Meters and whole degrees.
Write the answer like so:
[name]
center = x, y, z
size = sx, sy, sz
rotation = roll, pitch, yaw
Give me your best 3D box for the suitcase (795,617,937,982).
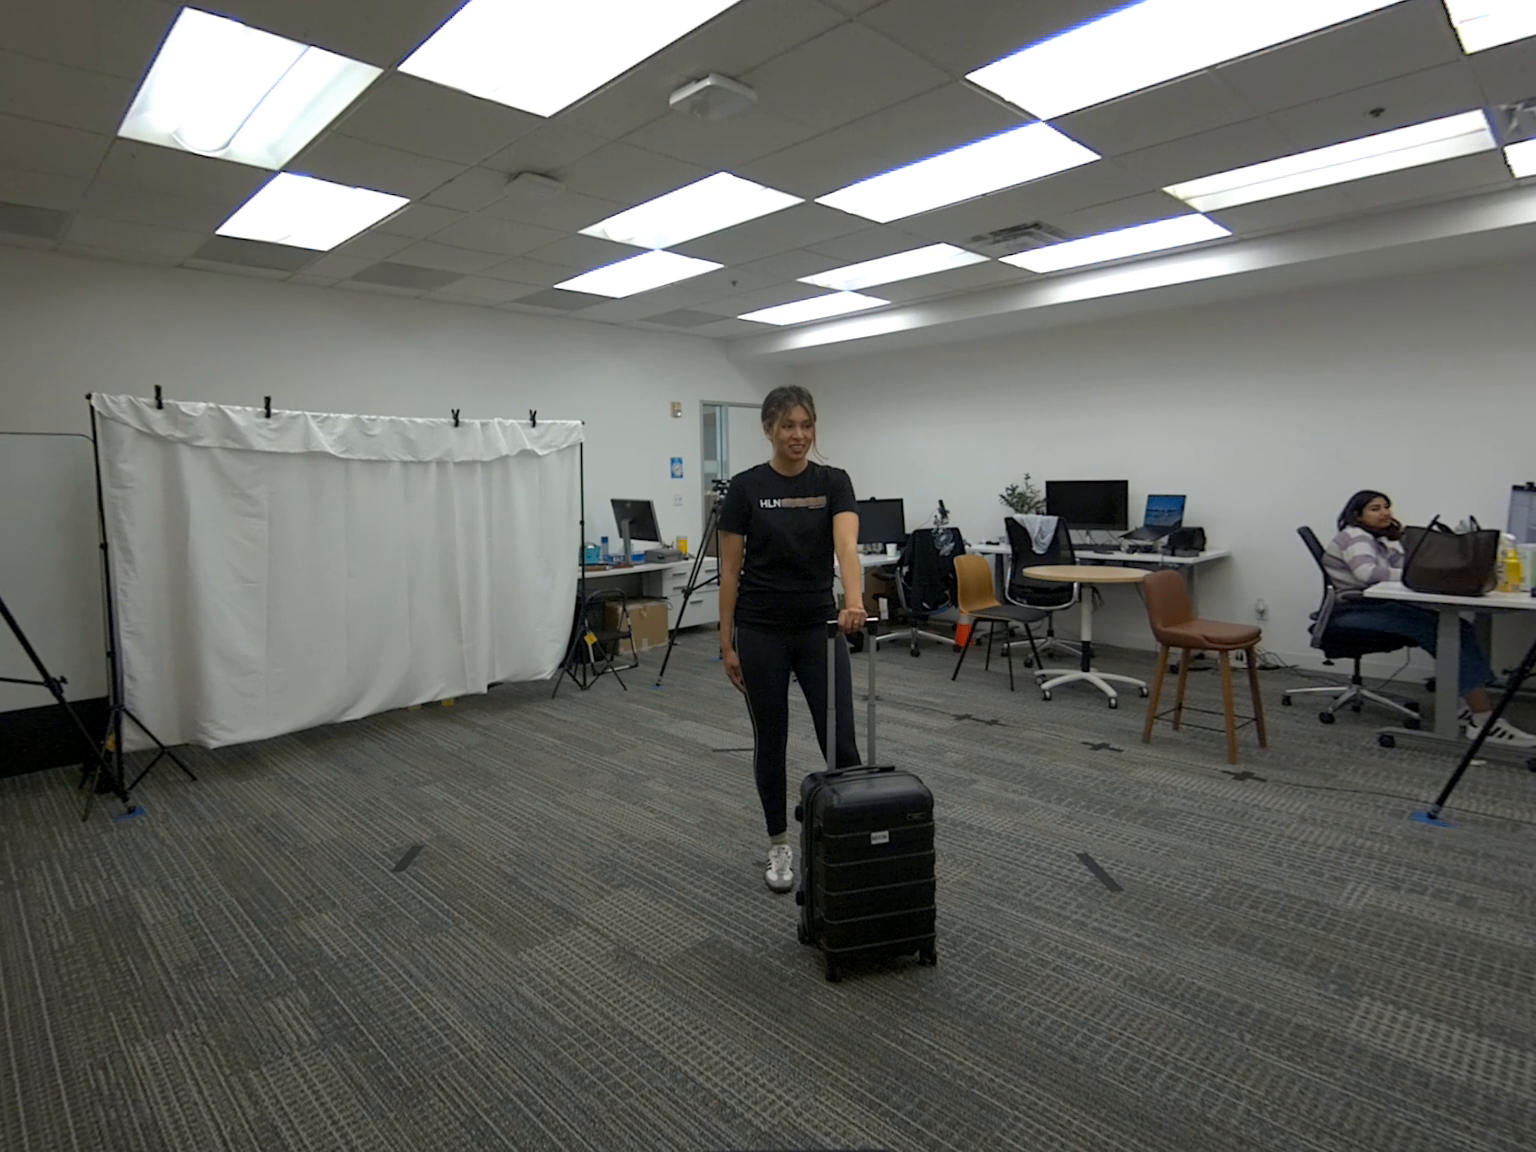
[suitcase]
center = 0.292, 0.639, 2.457
size = 0.379, 0.972, 0.262
rotation = -2, 7, -15
